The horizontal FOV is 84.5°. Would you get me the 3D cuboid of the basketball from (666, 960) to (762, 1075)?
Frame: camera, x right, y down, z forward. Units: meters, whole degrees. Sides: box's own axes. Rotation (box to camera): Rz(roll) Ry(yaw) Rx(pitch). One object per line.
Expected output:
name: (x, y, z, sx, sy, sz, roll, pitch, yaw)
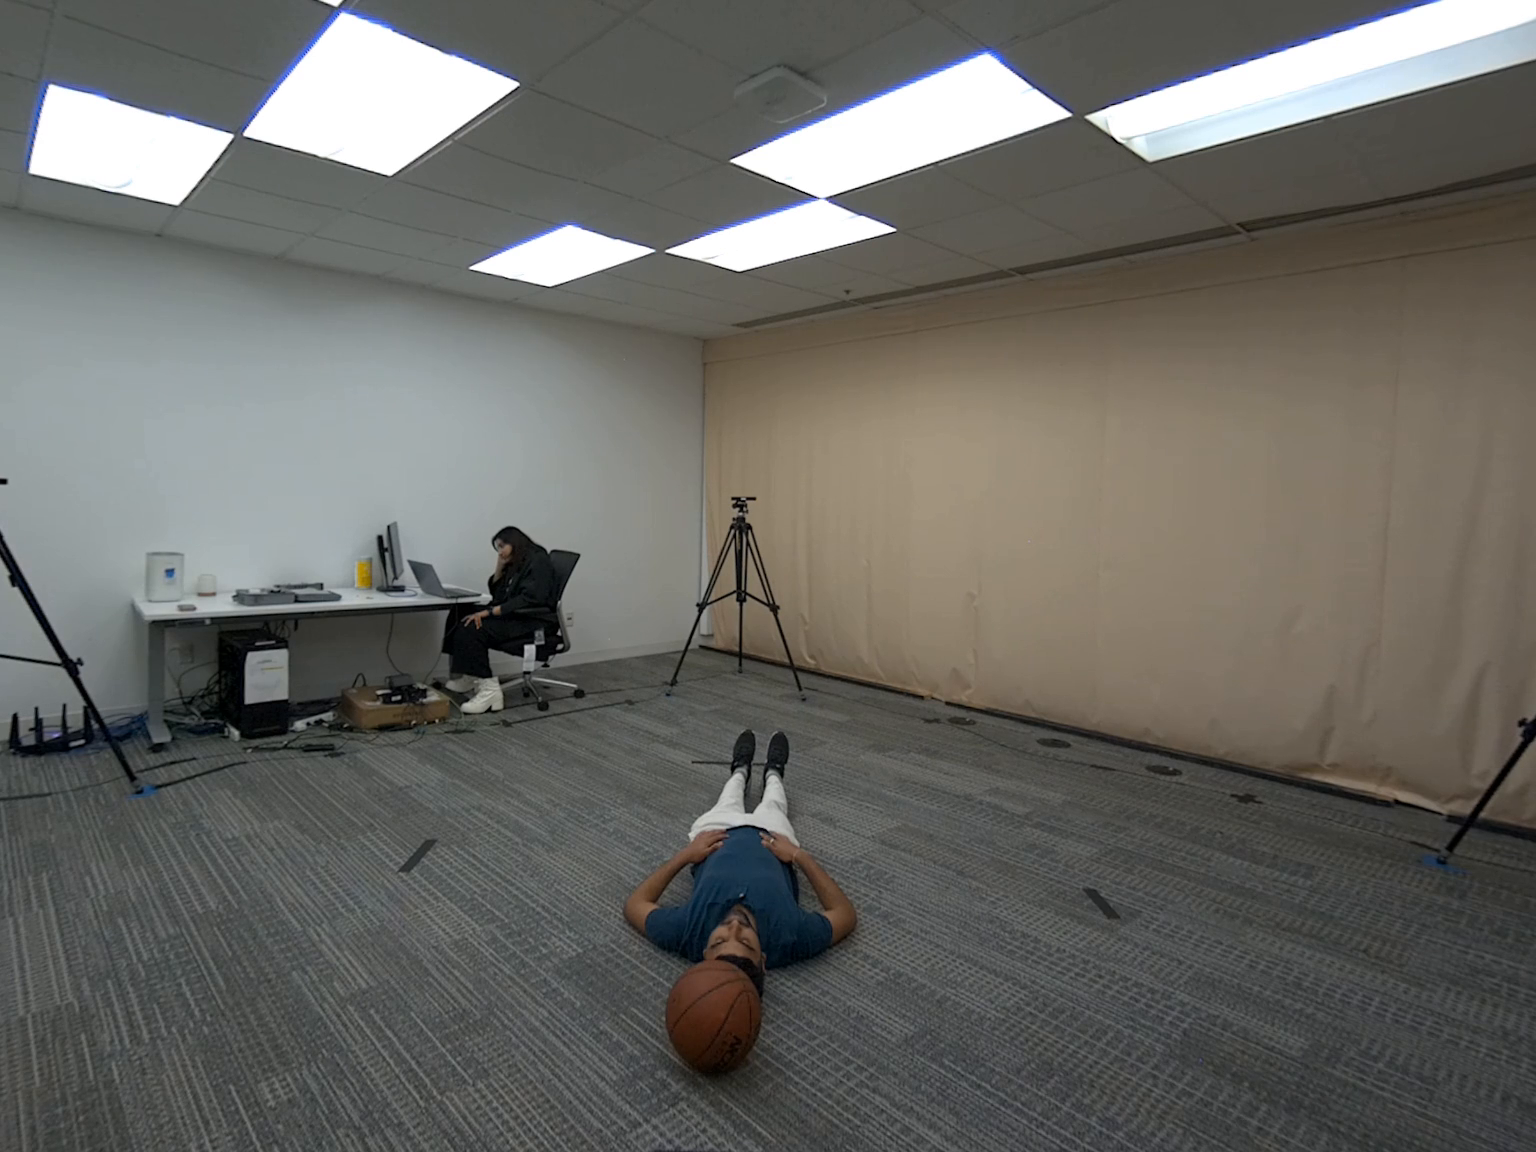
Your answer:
basketball: (-0.137, 1.081, 2.072, 0.236, 0.235, 0.237, 1, 4, -1)
